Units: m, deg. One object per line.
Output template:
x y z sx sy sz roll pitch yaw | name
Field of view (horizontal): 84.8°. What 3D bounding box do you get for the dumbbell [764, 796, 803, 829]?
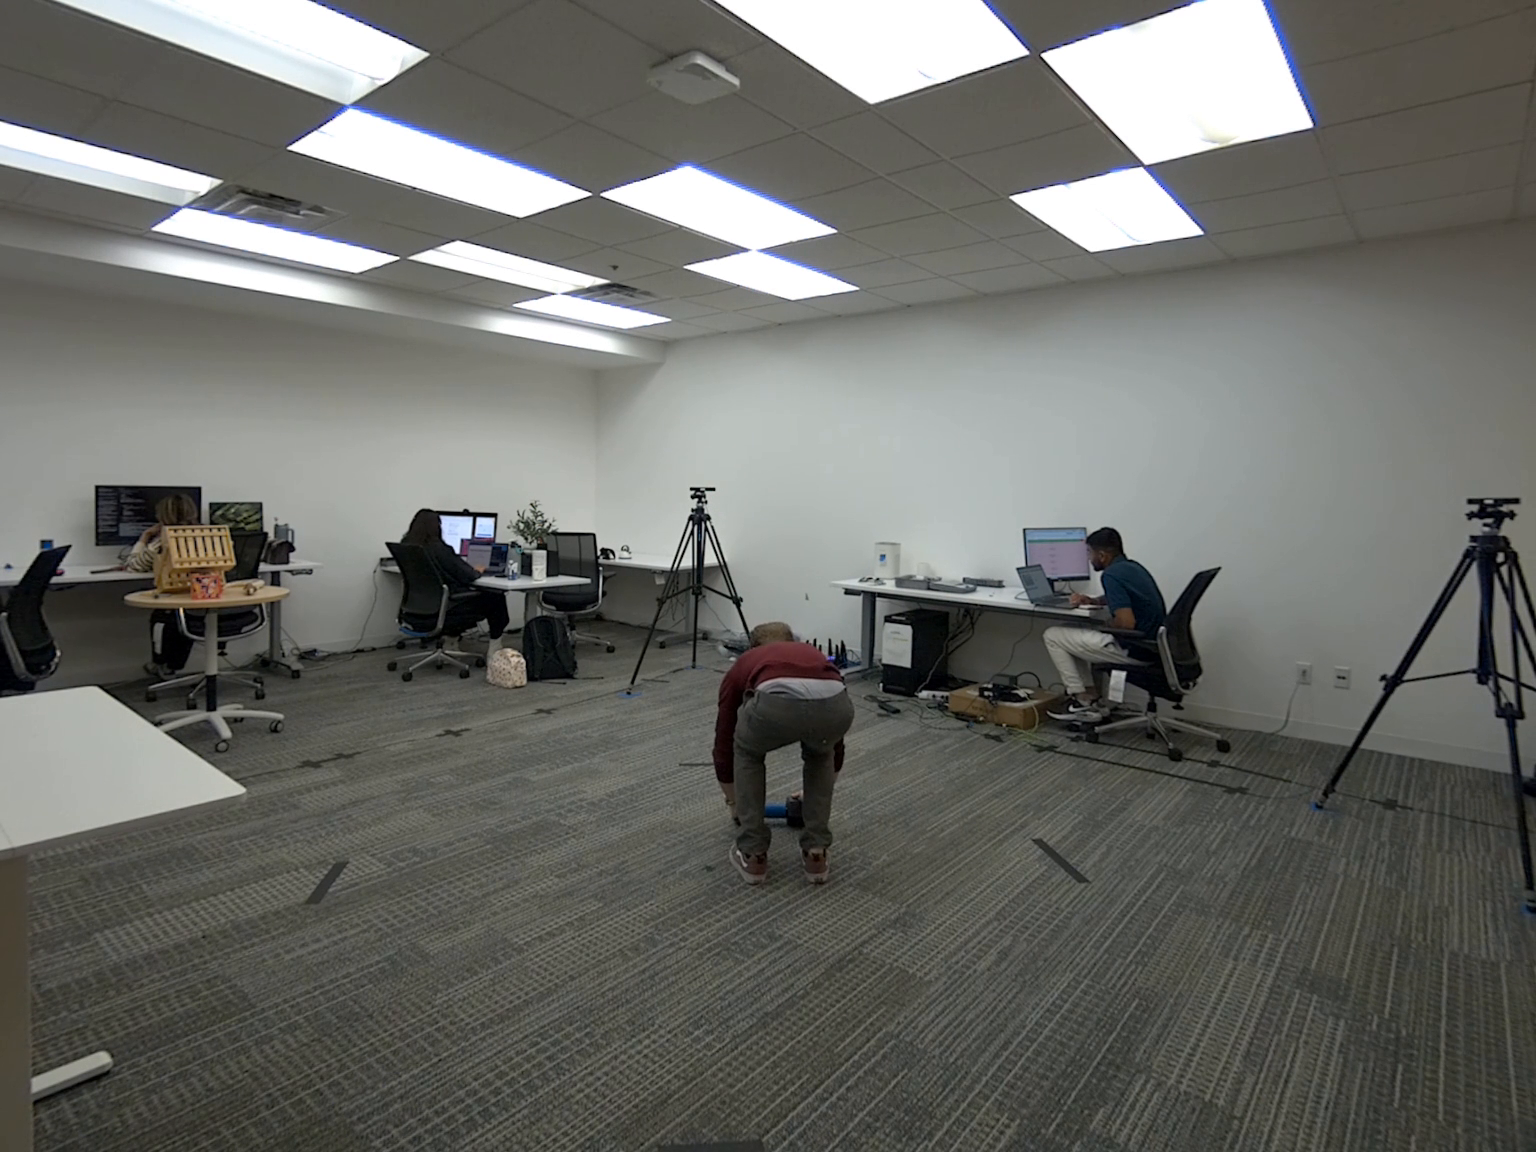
0.004 0.981 3.544 0.293 0.108 0.123 0 3 -1 | dumbbell
